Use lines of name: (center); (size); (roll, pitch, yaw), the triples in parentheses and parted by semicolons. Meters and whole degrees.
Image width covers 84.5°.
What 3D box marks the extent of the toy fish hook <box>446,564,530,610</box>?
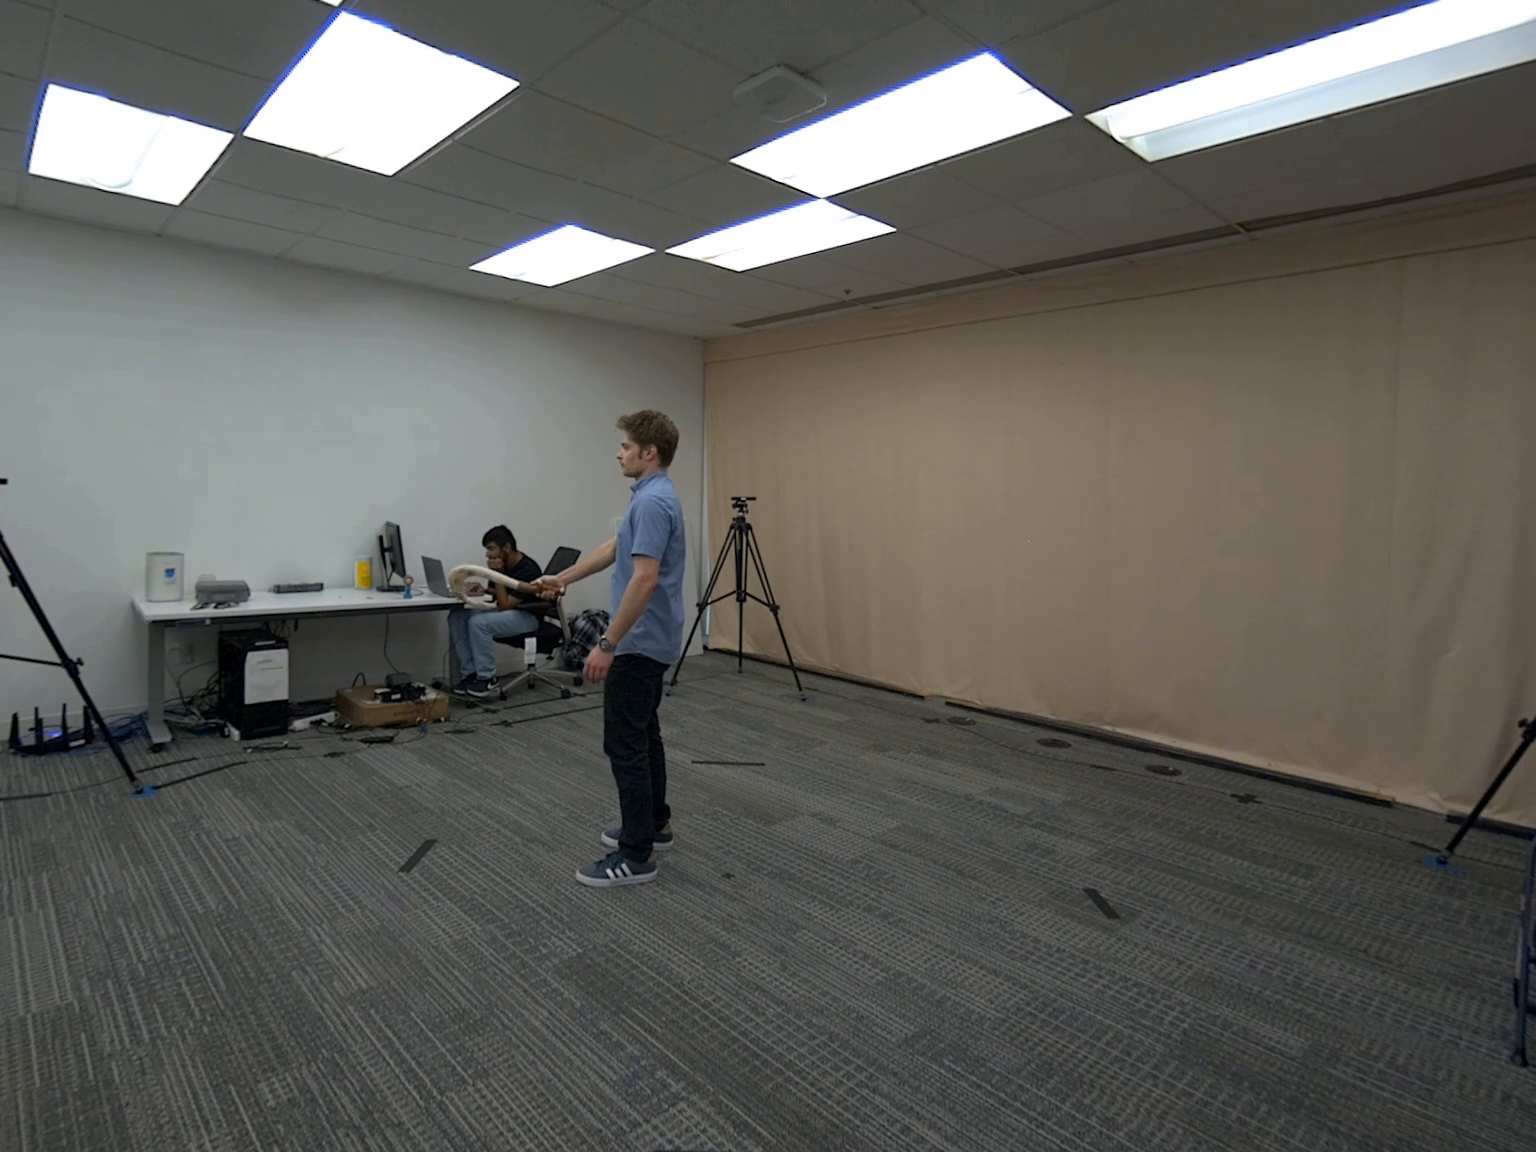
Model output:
toy fish hook: (-1.111, 0.080, 3.583); (0.508, 0.221, 0.049); (11, 36, 3)
